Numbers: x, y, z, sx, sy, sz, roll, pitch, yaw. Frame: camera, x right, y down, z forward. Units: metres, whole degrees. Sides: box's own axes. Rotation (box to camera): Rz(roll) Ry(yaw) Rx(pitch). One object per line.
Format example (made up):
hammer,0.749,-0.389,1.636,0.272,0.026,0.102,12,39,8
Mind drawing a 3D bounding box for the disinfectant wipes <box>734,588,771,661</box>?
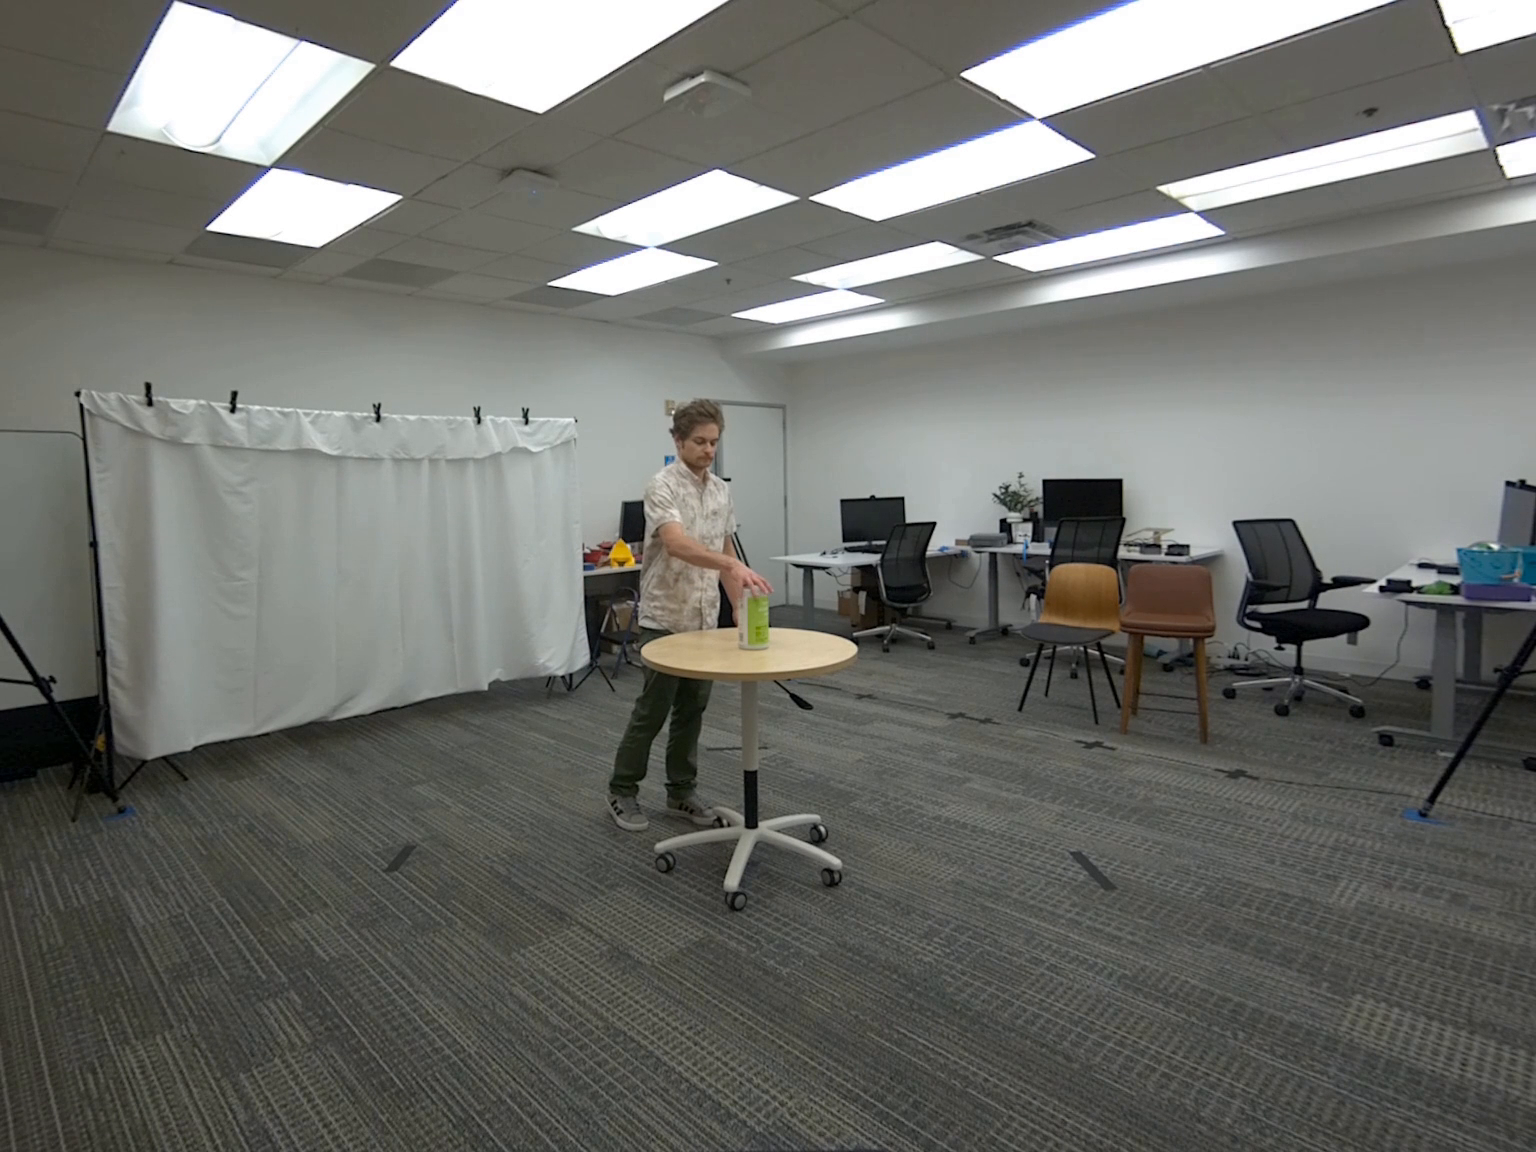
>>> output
disinfectant wipes,-0.052,0.152,3.026,0.118,0.216,0.118,0,4,-2
